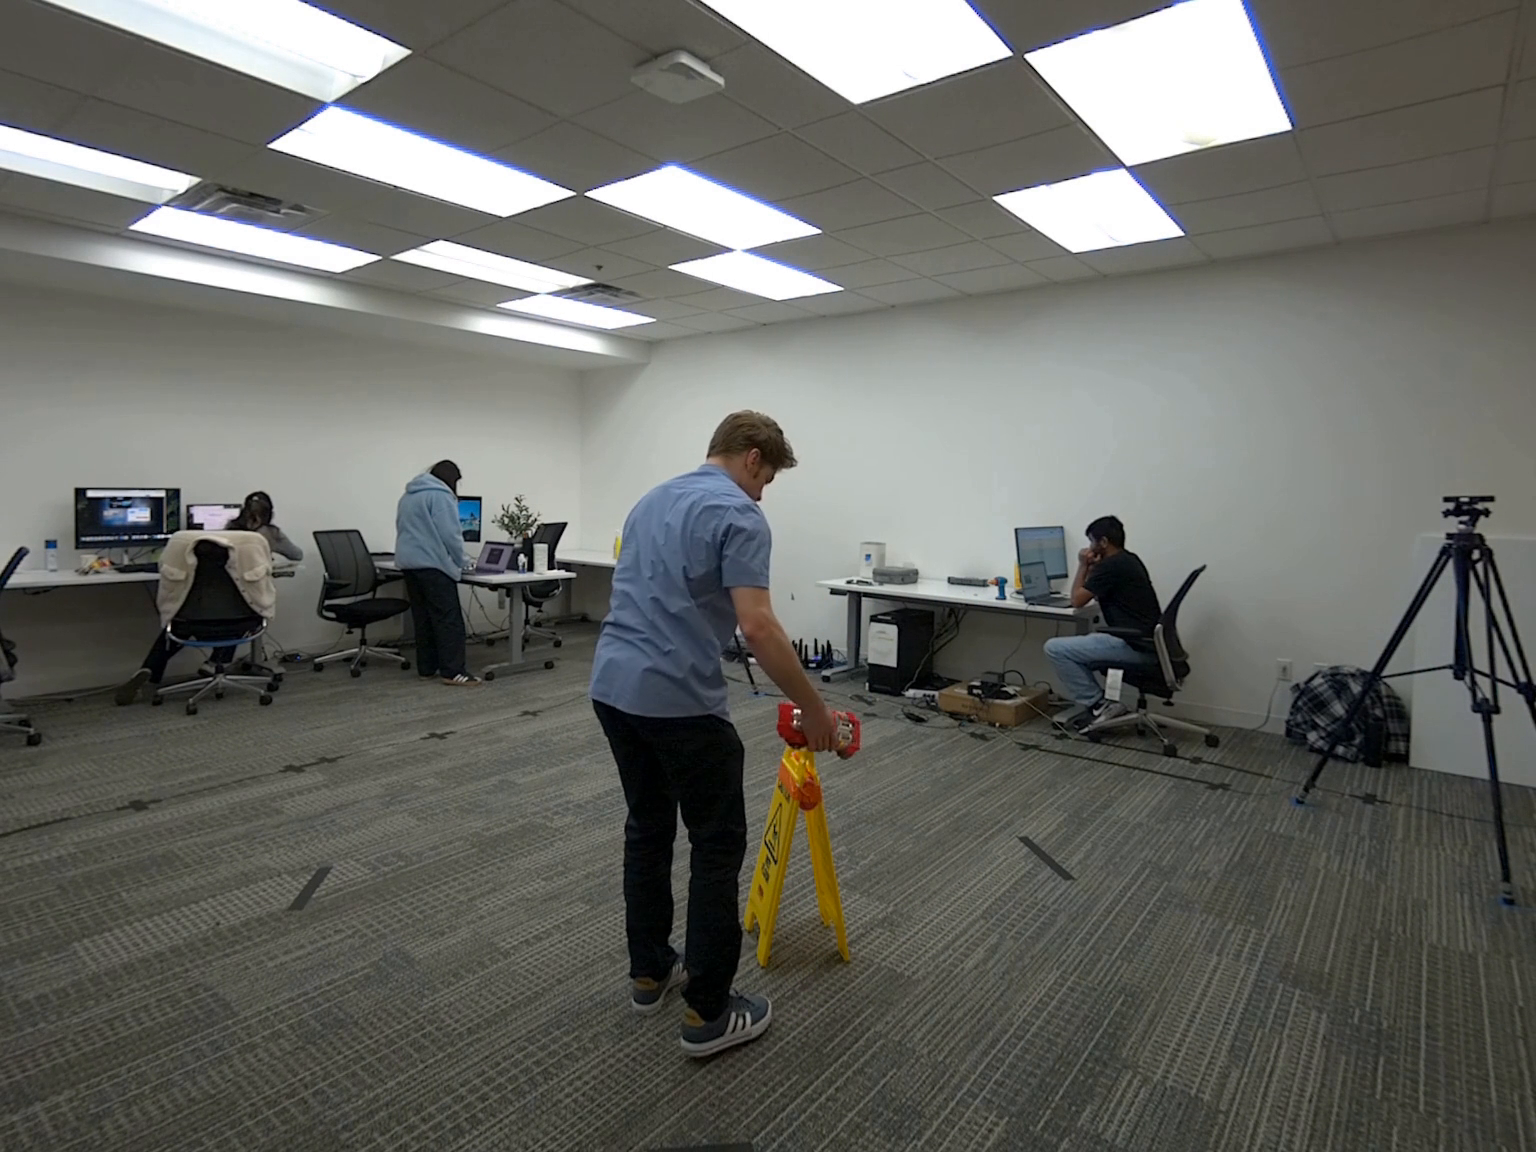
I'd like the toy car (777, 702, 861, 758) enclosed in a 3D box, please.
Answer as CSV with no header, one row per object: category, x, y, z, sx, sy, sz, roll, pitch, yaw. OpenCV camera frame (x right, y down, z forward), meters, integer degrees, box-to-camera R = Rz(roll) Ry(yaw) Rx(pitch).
toy car,0.120,0.403,2.213,0.246,0.133,0.084,21,-31,-30
